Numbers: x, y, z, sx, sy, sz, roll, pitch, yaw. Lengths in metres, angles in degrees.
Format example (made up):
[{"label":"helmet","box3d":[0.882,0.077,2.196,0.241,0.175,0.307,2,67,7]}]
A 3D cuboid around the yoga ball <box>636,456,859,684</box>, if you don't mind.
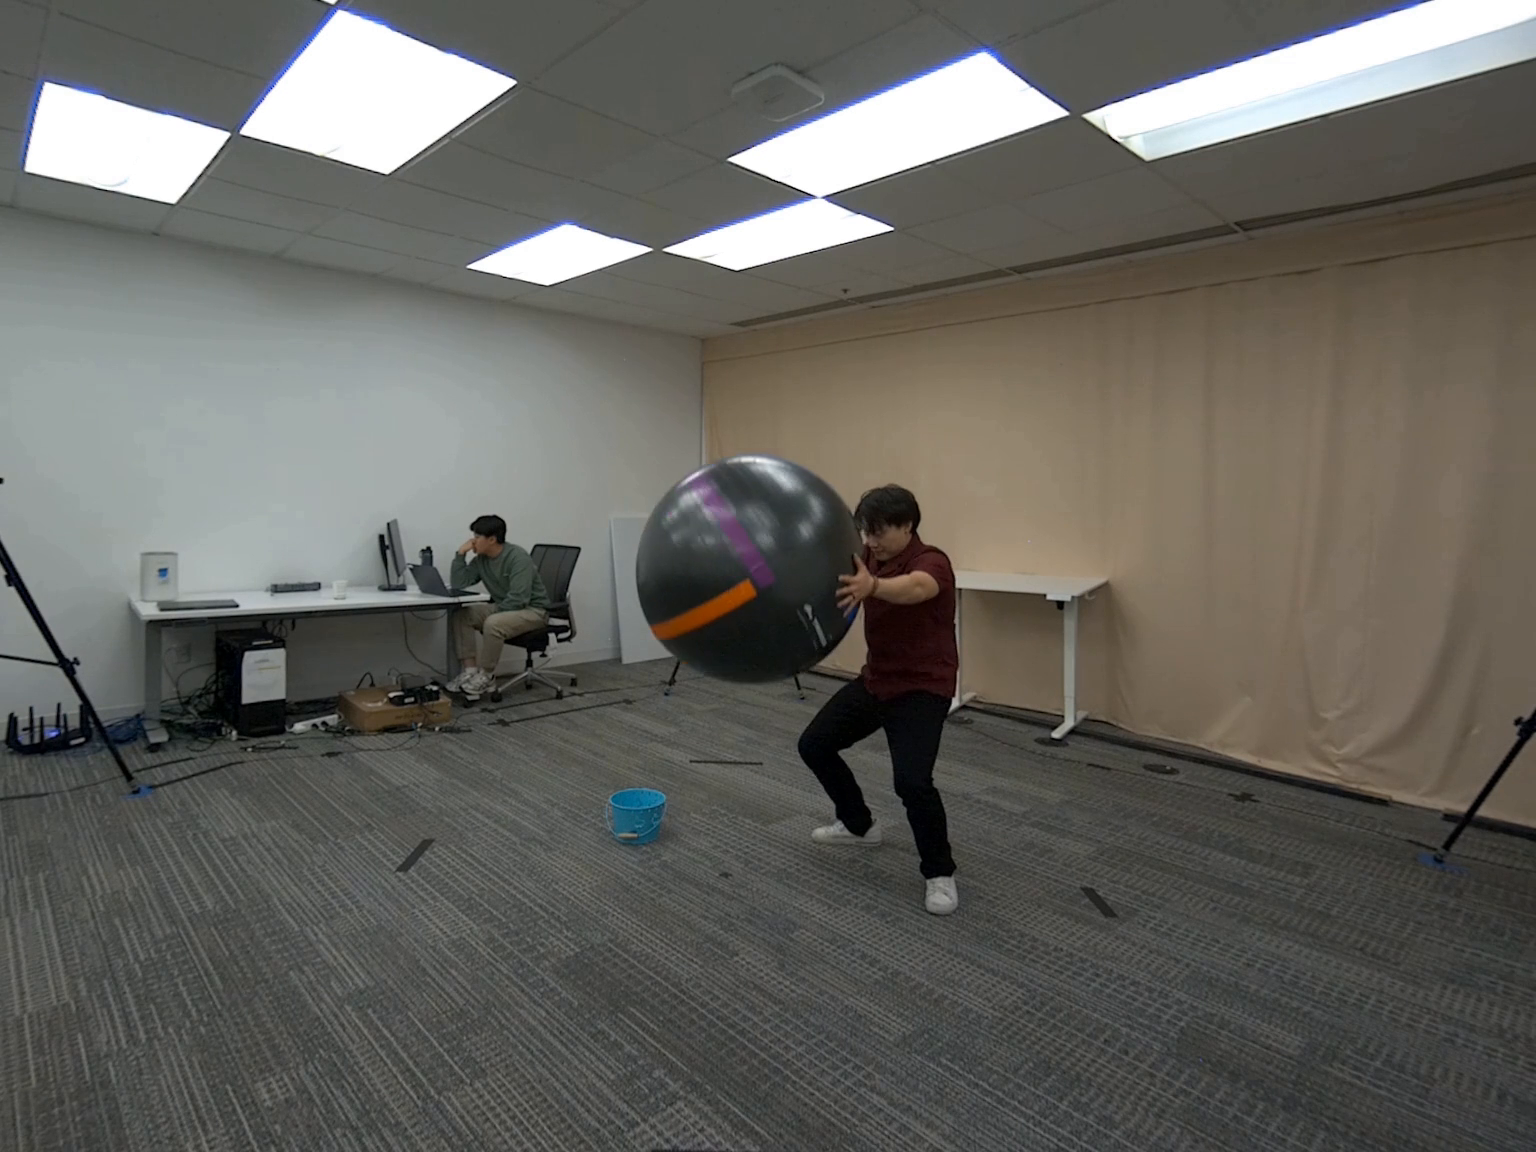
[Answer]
[{"label":"yoga ball","box3d":[-0.055,-0.015,2.798,0.757,0.756,0.761,1,4,-1]}]
